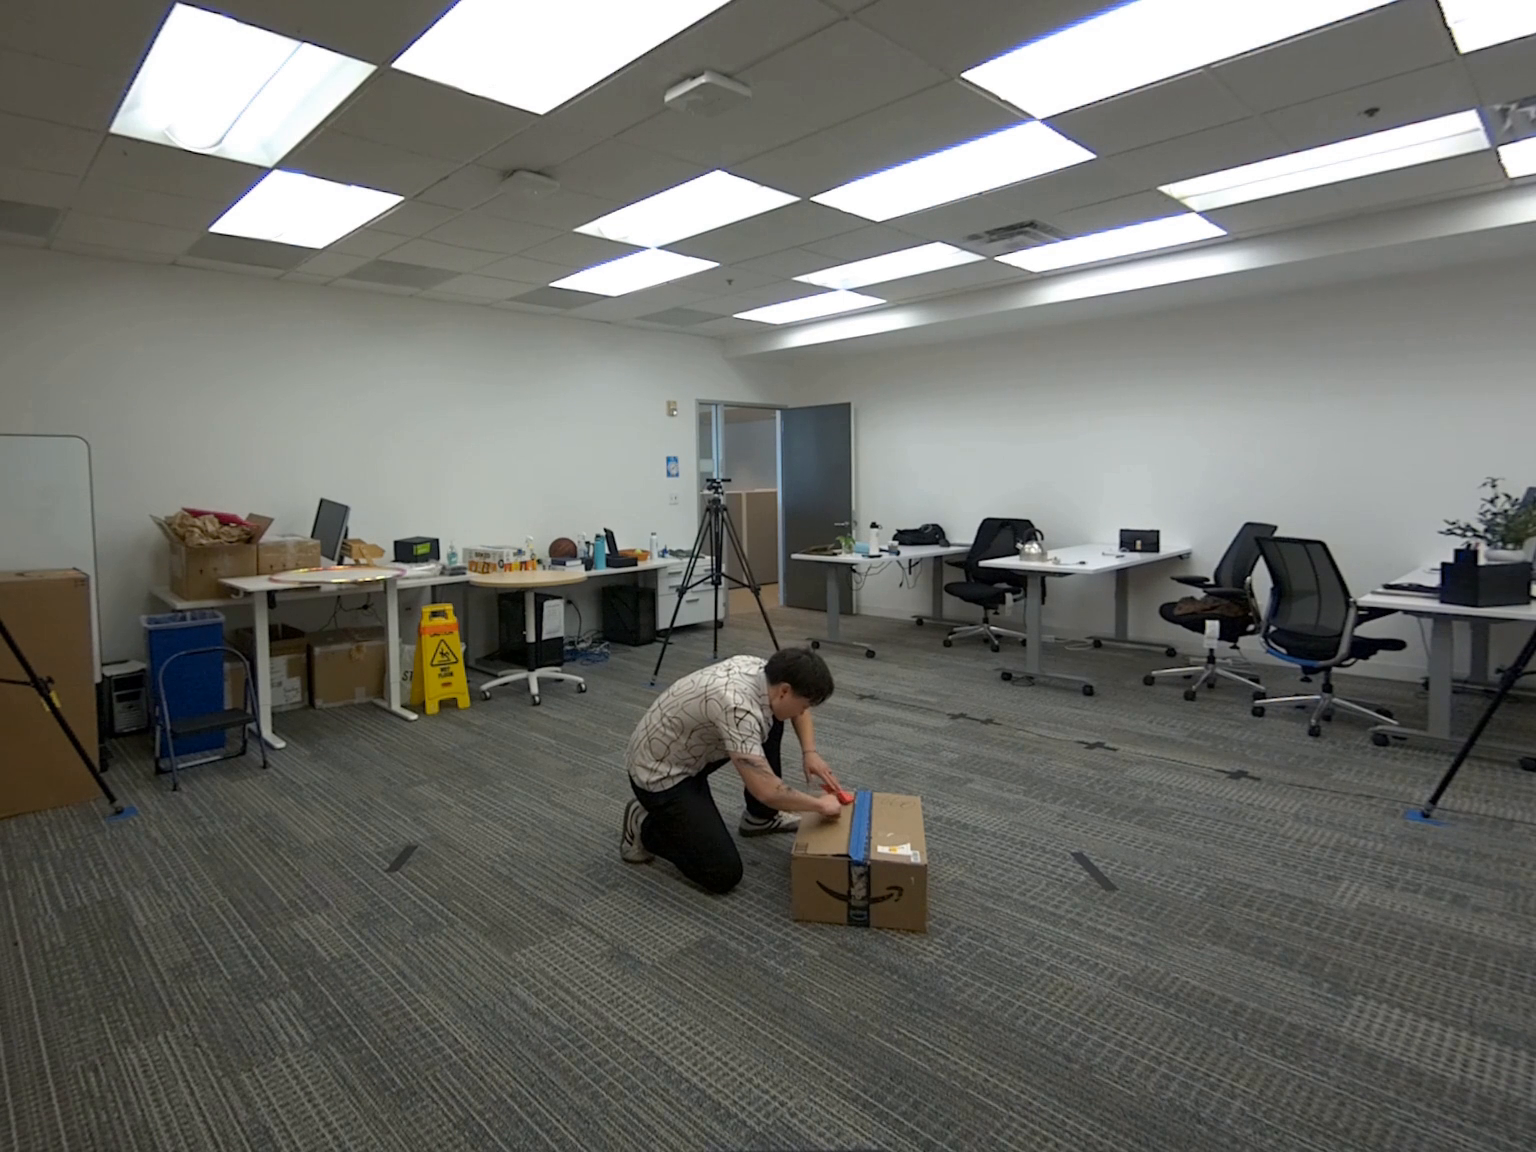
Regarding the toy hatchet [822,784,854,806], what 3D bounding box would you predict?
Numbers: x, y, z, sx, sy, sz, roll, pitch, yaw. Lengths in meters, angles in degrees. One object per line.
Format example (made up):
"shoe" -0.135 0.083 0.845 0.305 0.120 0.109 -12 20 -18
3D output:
"toy hatchet" 0.246 0.811 3.023 0.131 0.029 0.272 12 11 -1
